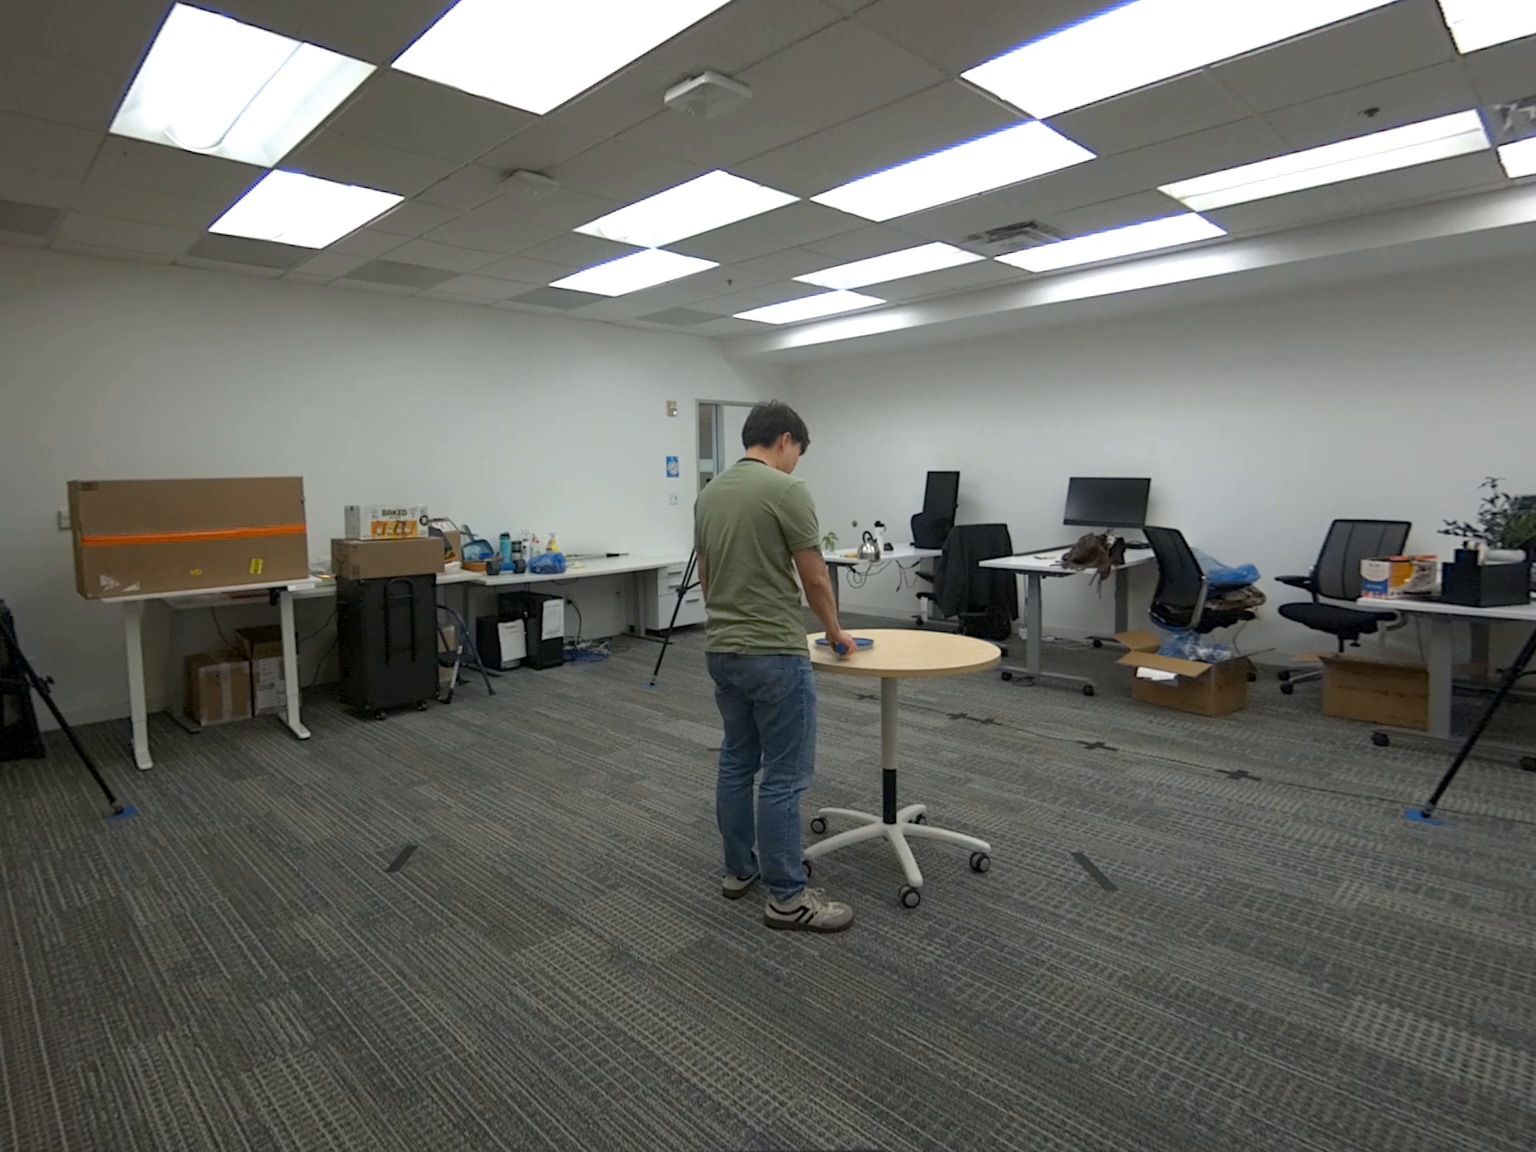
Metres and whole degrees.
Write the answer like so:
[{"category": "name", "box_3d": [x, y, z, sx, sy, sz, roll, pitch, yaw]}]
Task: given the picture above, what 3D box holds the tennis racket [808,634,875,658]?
[{"category": "tennis racket", "box_3d": [0.254, 0.241, 3.021, 0.216, 0.032, 0.428, 0, 1, 10]}]
